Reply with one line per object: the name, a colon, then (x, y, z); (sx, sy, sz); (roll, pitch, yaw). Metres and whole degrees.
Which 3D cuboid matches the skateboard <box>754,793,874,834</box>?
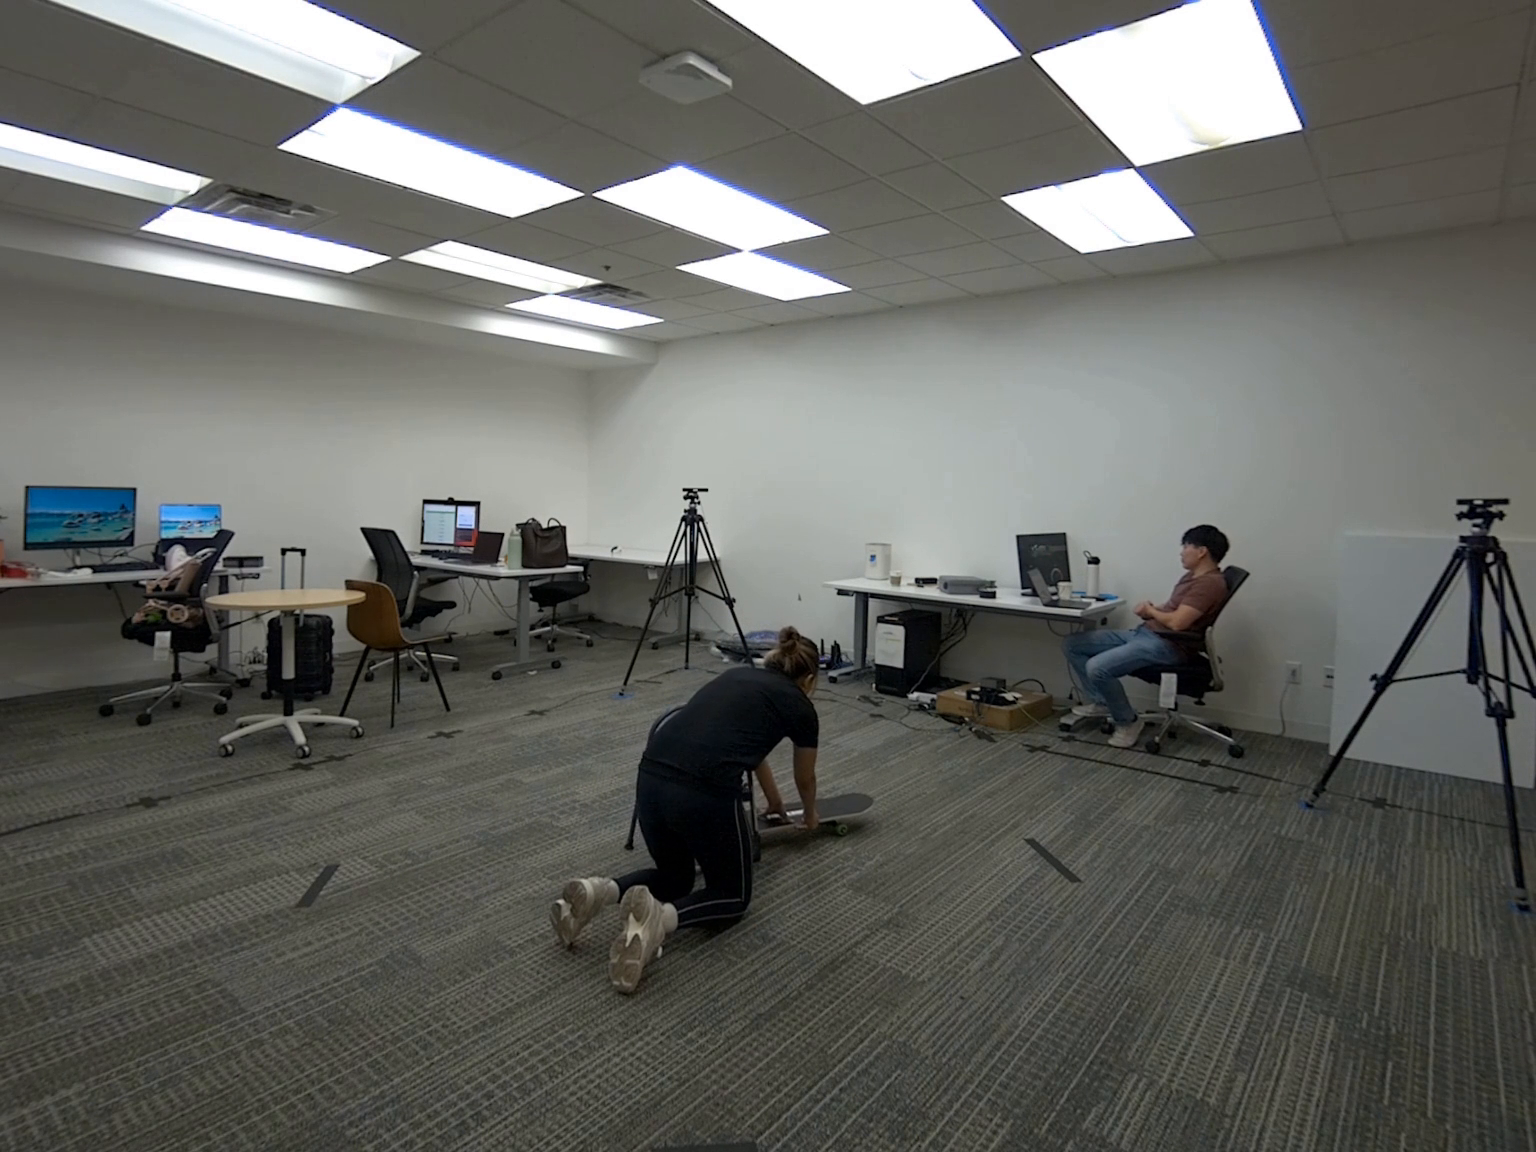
skateboard: (0.079, 0.991, 3.436); (0.767, 0.109, 0.199); (-2, 9, -25)
